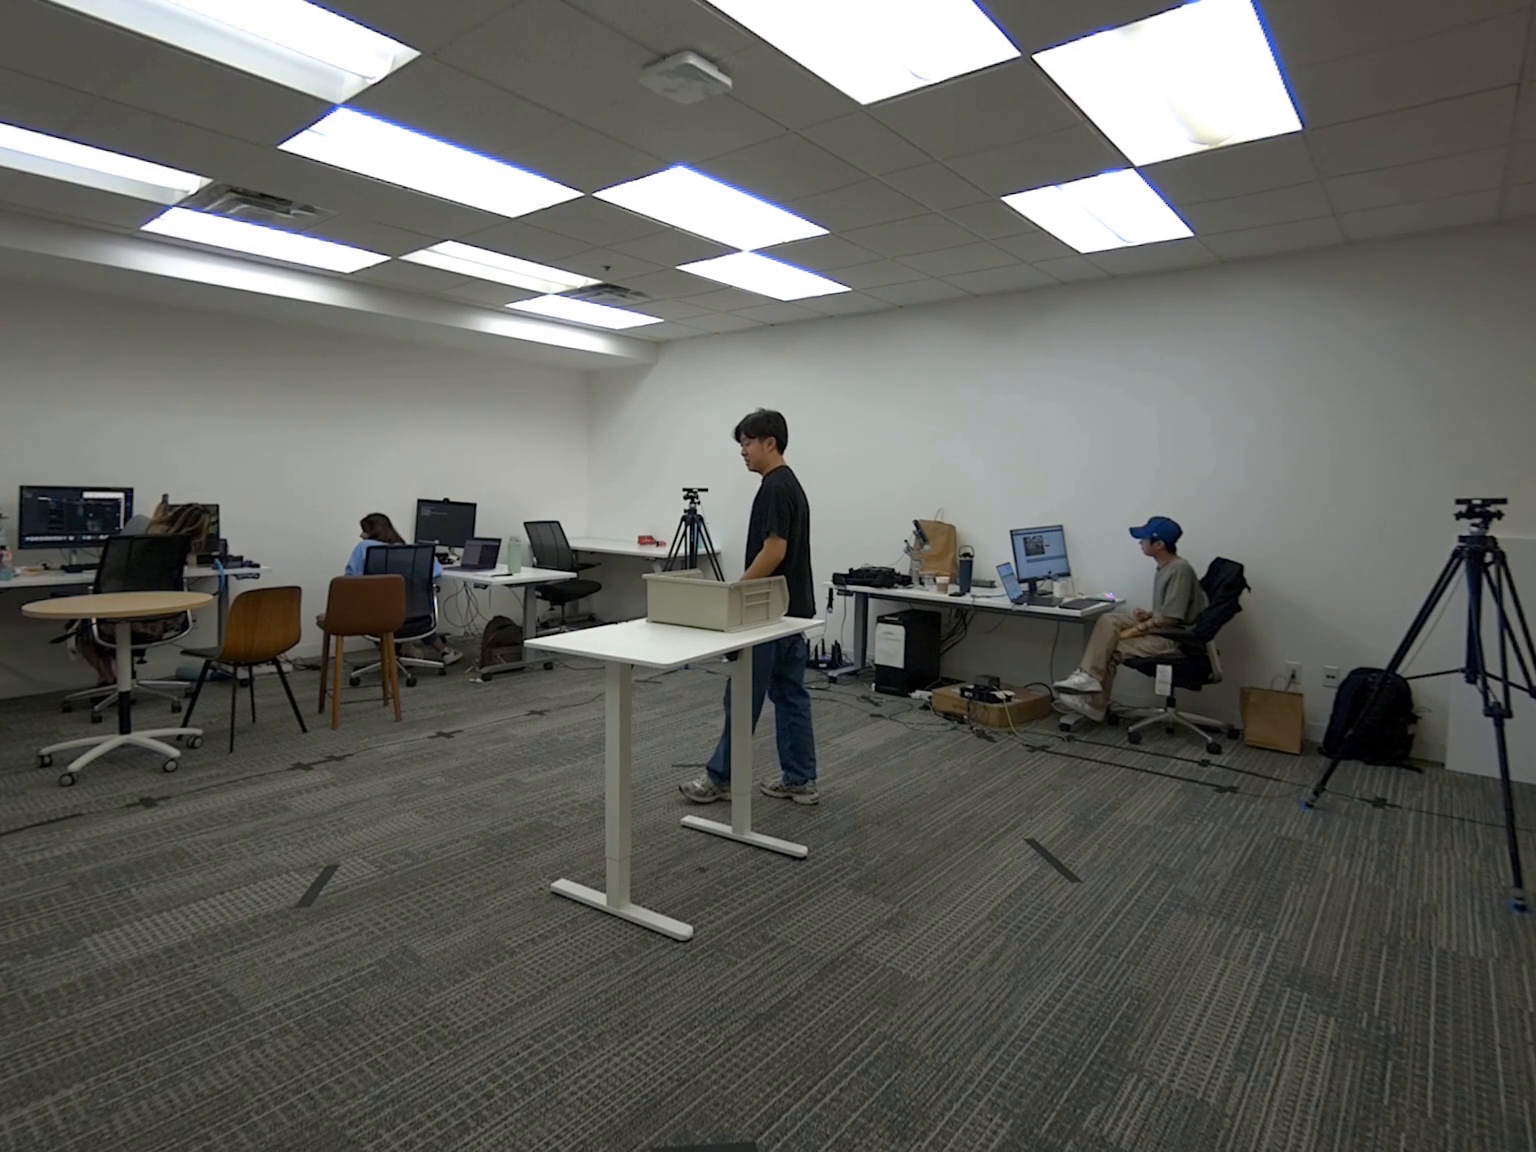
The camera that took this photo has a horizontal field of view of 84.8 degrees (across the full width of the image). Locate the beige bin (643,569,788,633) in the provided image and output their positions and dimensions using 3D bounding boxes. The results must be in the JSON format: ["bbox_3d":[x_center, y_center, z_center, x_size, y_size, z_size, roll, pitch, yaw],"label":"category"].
[{"bbox_3d":[-0.208,0.087,3.232,0.436,0.188,0.367,5,8,36],"label":"beige bin"}]
